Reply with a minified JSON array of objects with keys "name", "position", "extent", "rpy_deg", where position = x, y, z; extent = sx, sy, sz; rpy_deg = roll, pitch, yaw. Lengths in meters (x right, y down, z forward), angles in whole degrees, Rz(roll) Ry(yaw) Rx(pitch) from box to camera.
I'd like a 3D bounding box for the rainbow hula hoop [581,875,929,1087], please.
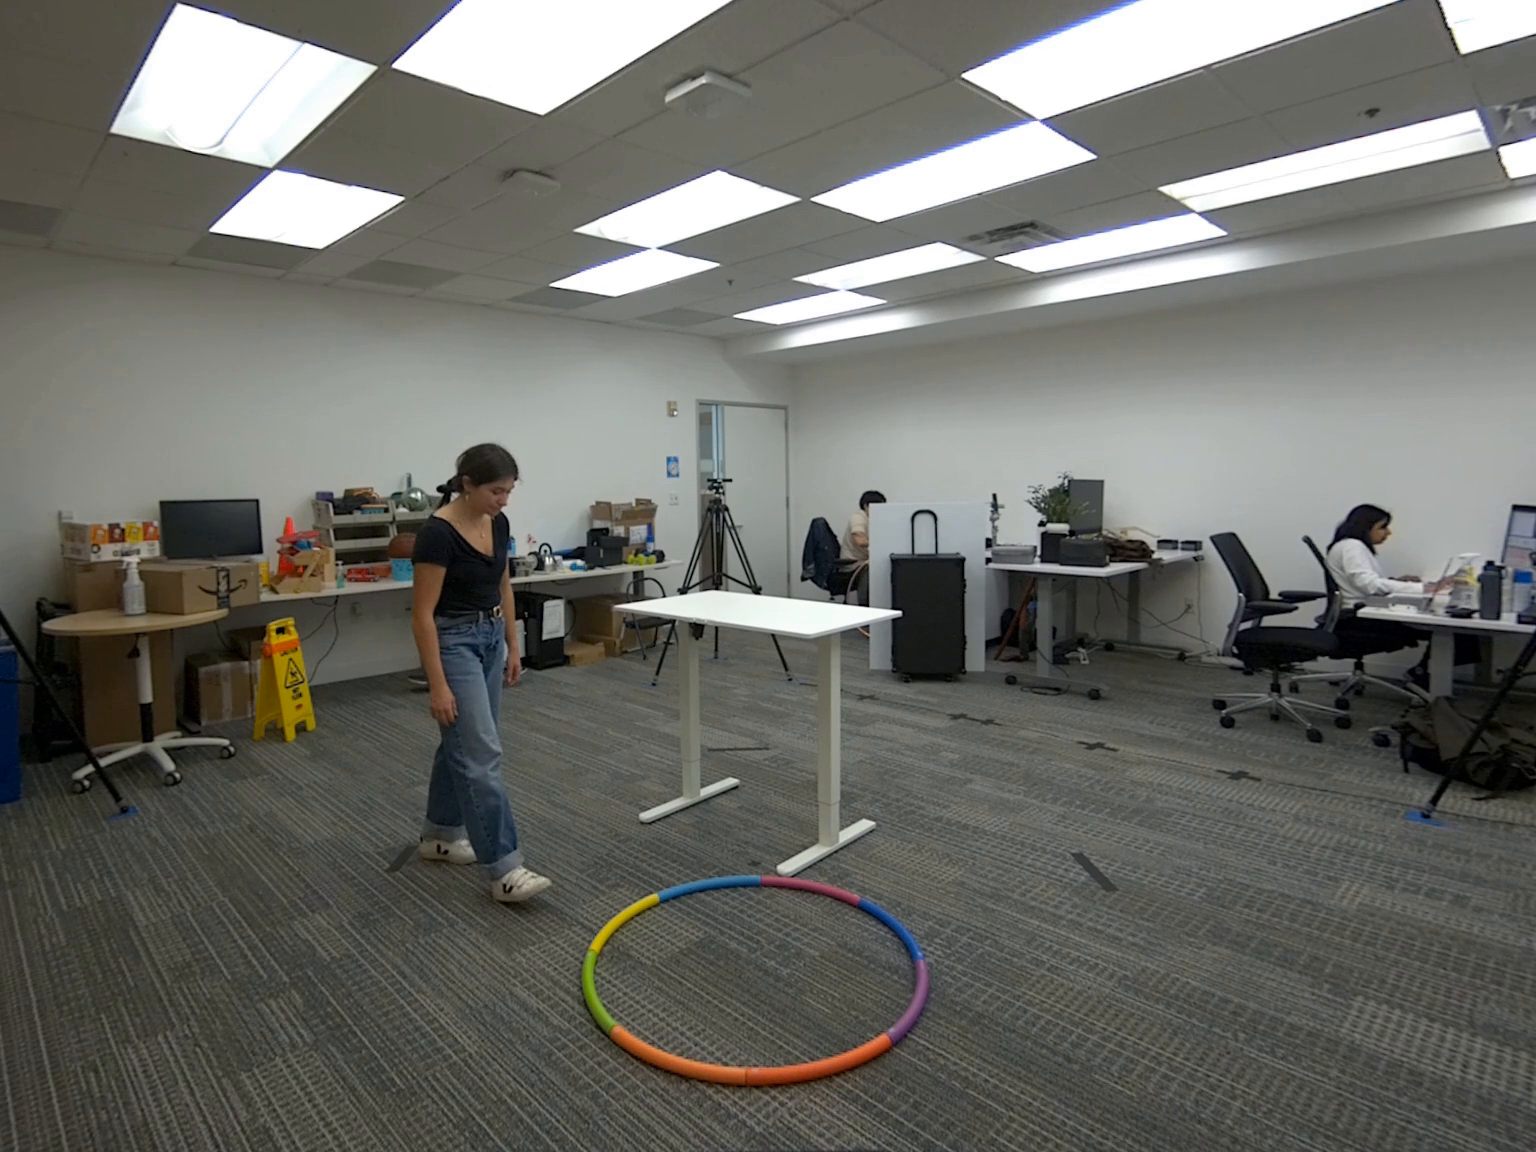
[{"name":"rainbow hula hoop","position":[-0.034,1.089,2.469],"extent":[0.978,0.035,0.984],"rpy_deg":[-2,7,-2]}]
